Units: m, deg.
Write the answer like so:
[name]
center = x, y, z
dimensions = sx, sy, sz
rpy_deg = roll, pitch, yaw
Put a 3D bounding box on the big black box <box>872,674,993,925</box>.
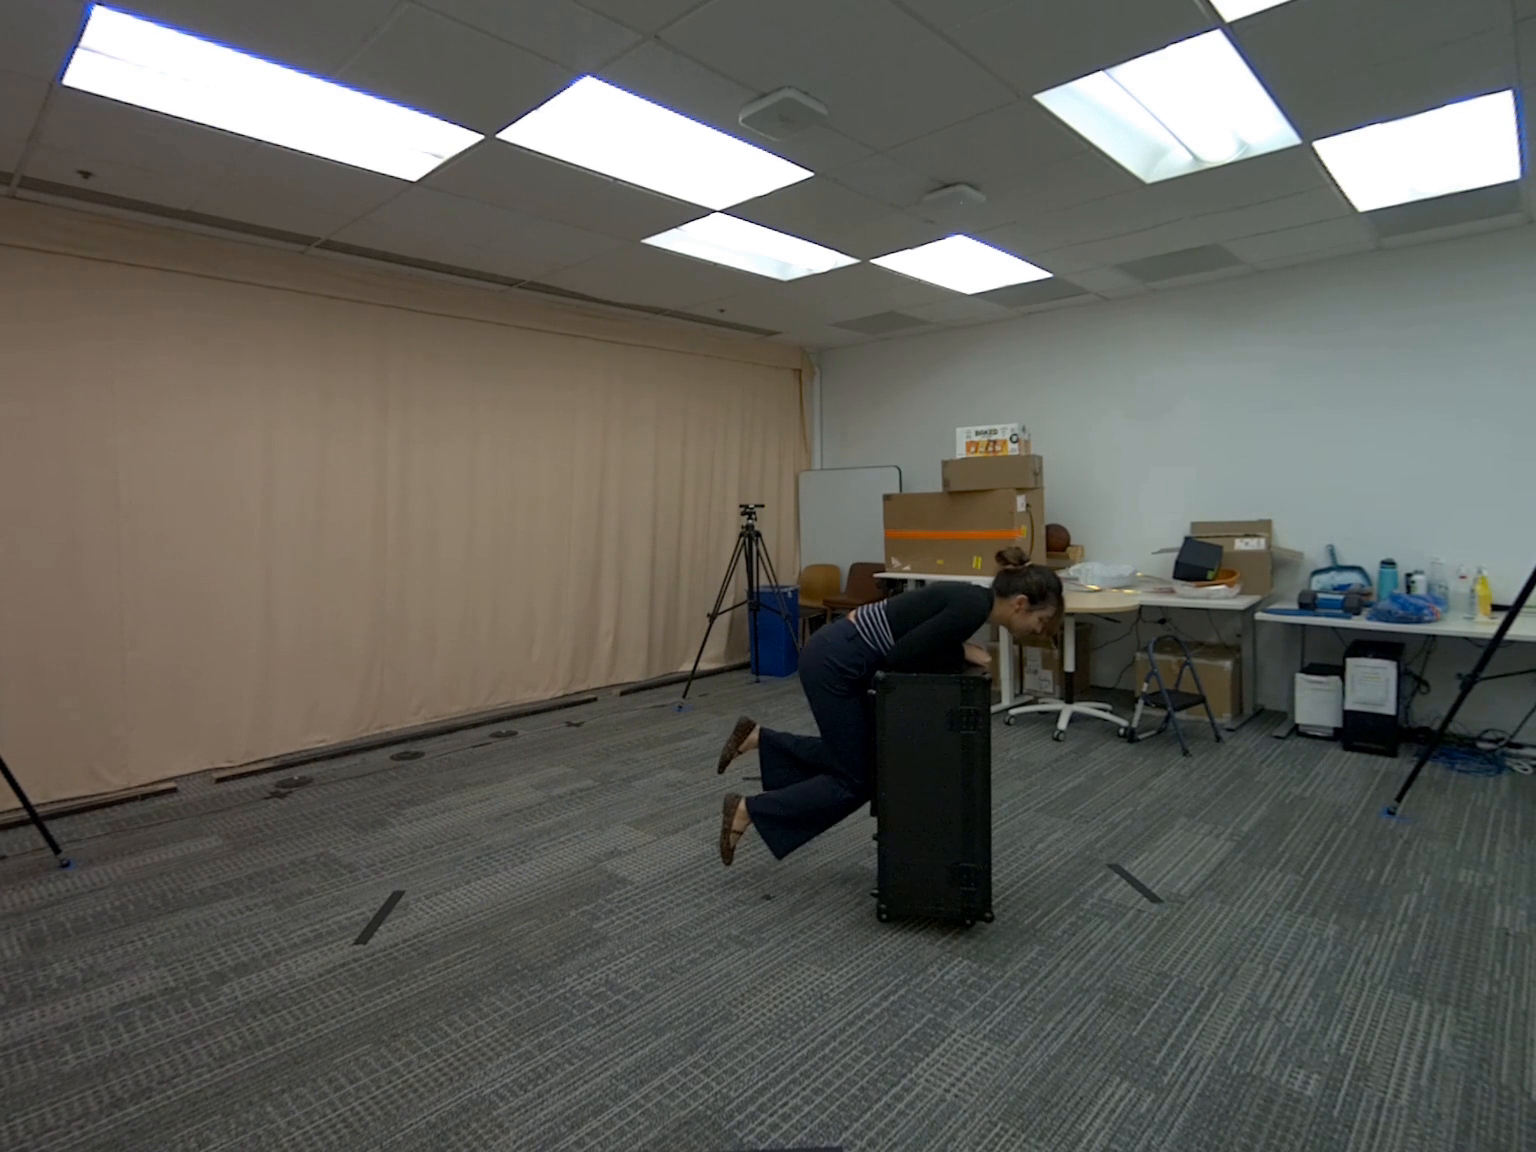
[big black box]
center = 0.548, 0.716, 2.883
dimensions = 0.401, 0.859, 0.517
rpy_deg = -1, 4, 9
